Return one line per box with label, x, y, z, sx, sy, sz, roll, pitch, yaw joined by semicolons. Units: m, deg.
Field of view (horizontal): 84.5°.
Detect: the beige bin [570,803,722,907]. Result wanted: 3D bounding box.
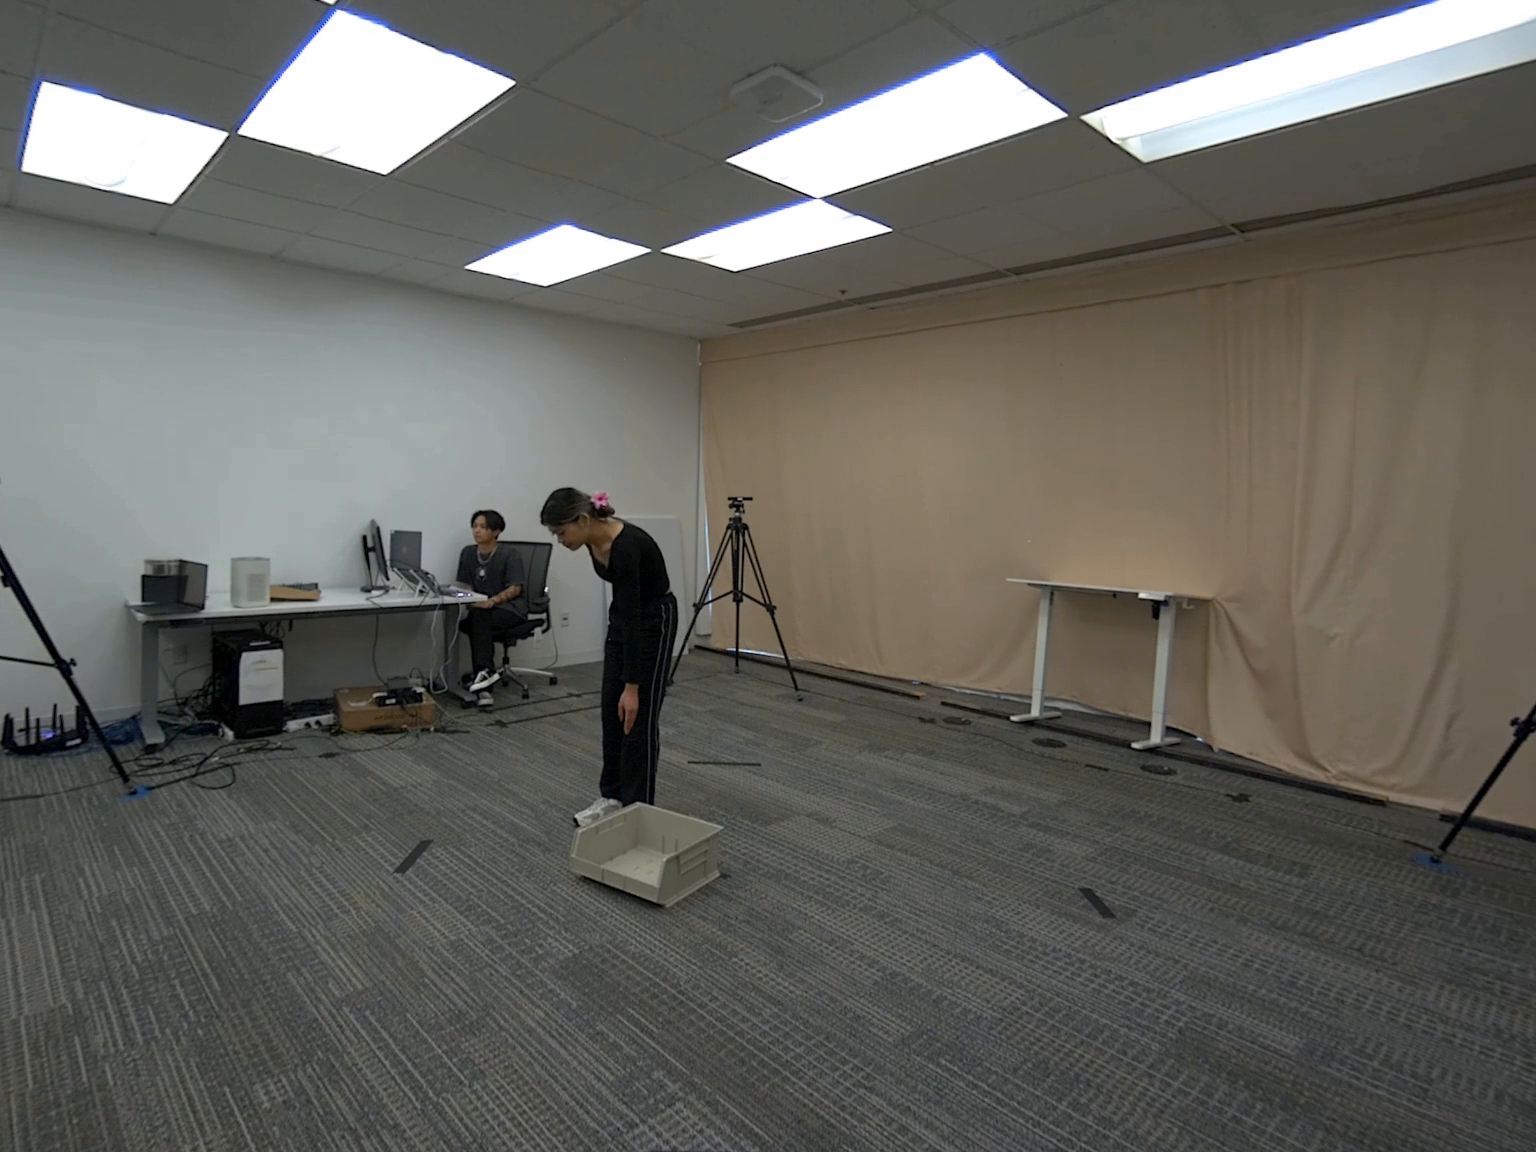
beige bin;-0.446;1.018;3.074;0.432;0.188;0.369;4;5;33
